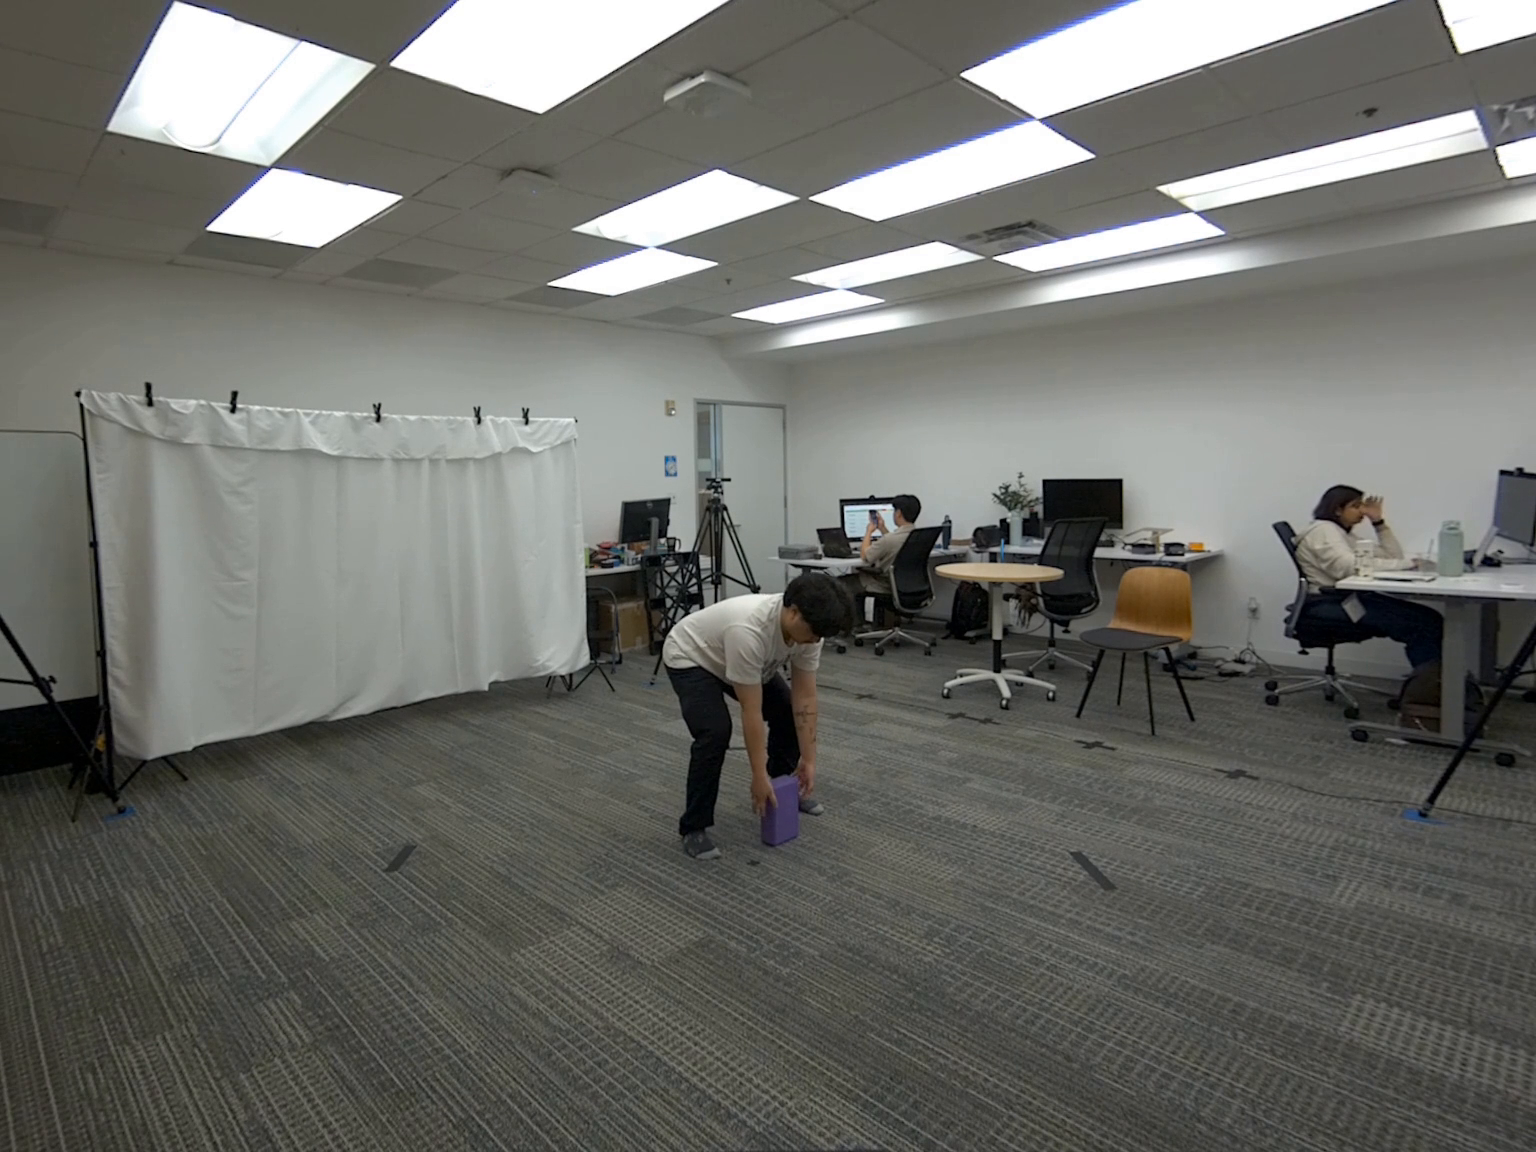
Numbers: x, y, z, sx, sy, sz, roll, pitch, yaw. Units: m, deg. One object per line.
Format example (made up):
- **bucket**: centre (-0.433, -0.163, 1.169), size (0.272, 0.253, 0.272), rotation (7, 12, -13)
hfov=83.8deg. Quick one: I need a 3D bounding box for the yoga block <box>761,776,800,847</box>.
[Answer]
- **yoga block**: centre (0.047, 0.896, 3.294), size (0.145, 0.228, 0.079), rotation (-3, 5, -44)
